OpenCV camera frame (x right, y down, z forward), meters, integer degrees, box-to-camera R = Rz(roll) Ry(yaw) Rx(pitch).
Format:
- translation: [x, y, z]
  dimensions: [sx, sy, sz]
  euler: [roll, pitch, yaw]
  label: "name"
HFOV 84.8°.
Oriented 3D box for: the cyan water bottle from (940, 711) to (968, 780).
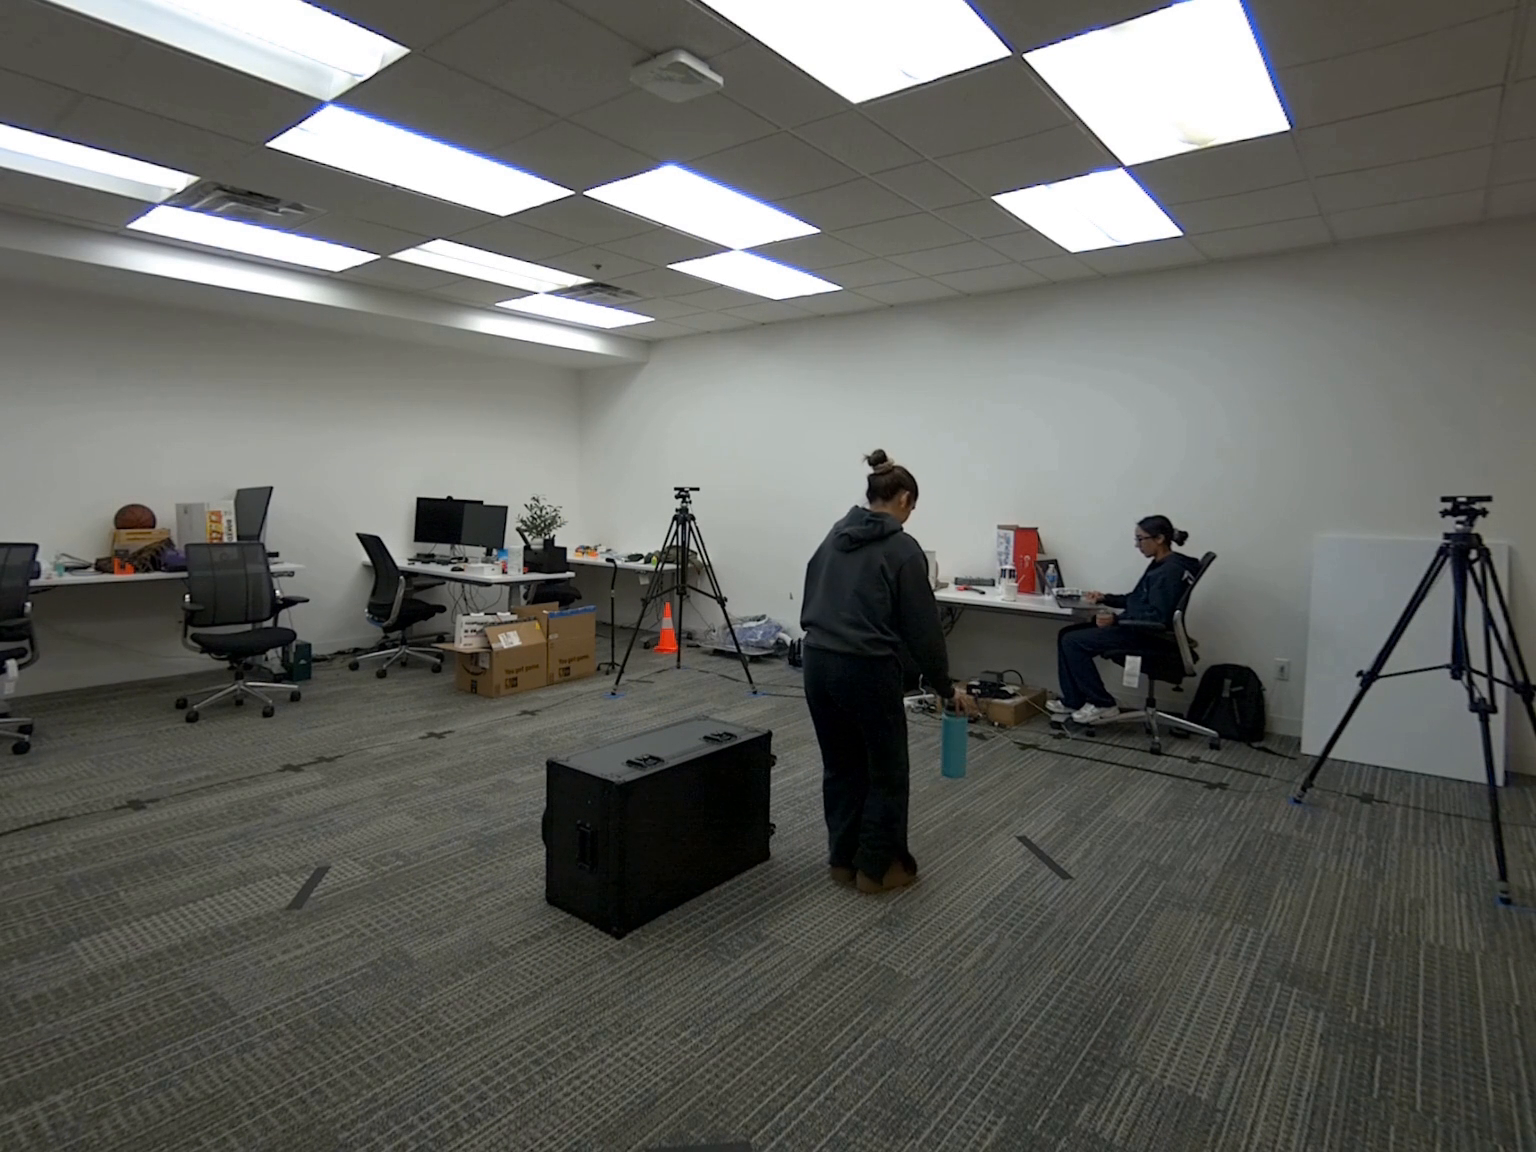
- translation: [0.672, 0.582, 3.059]
  dimensions: [0.092, 0.281, 0.093]
  euler: [-1, 7, -2]
  label: "cyan water bottle"
